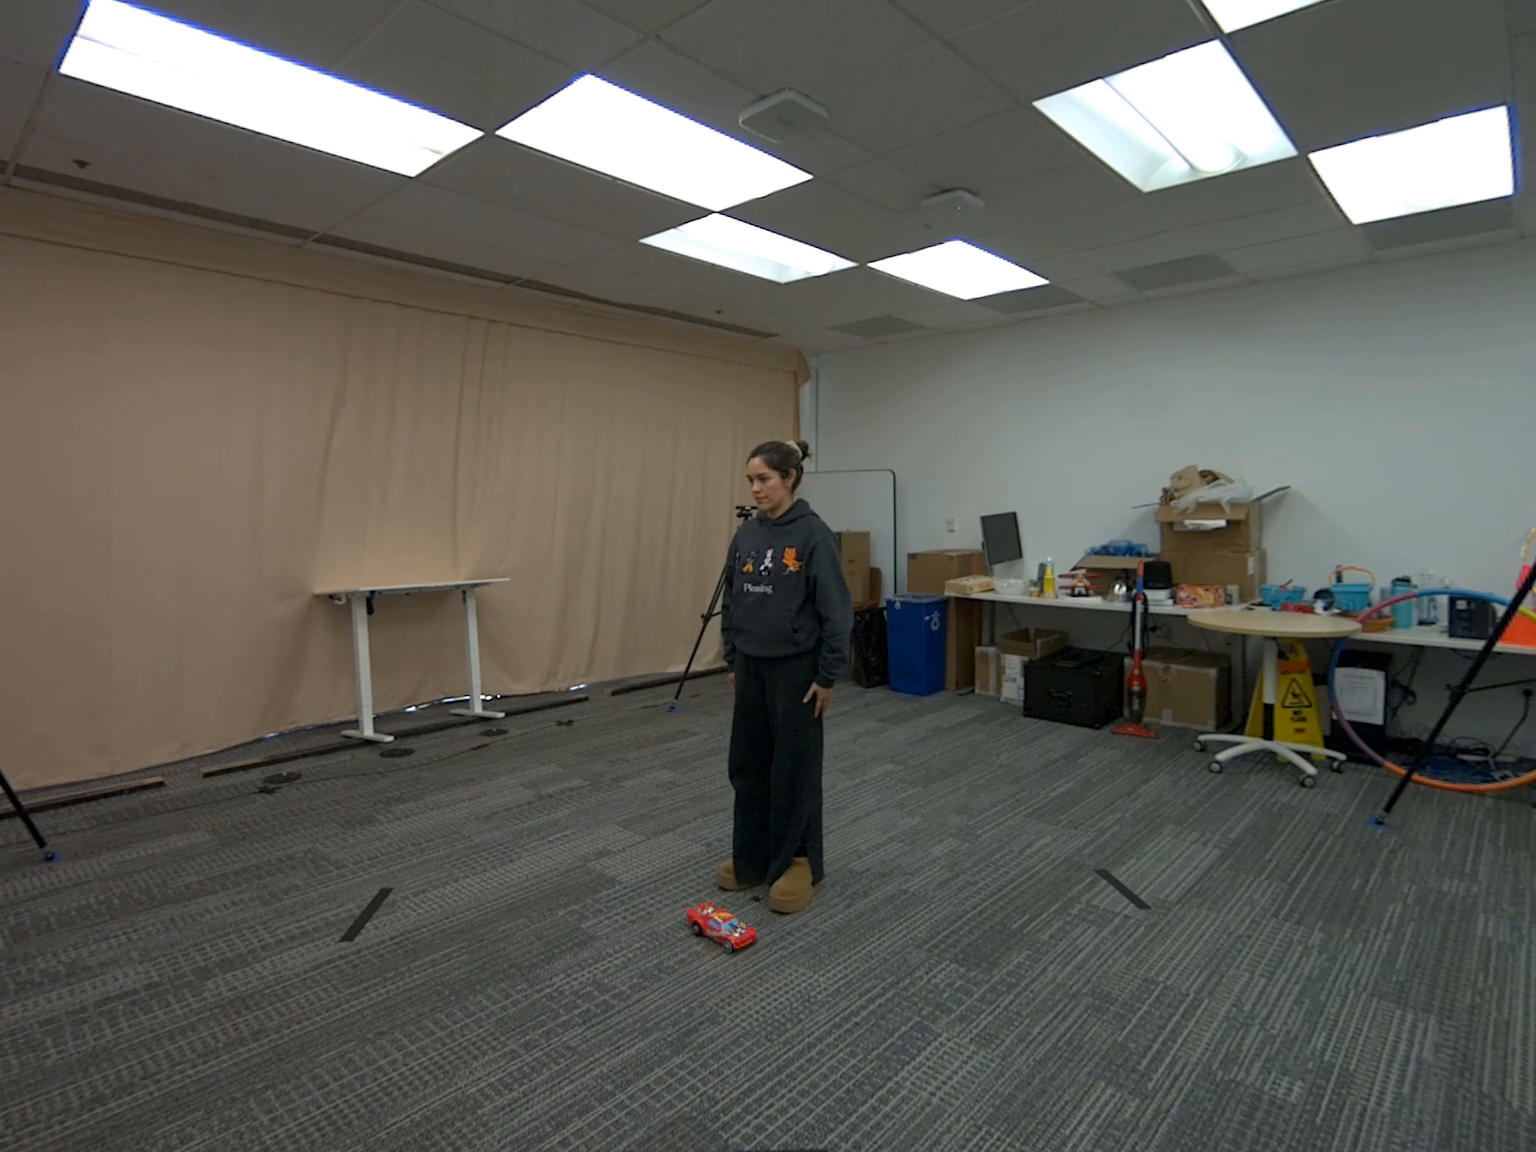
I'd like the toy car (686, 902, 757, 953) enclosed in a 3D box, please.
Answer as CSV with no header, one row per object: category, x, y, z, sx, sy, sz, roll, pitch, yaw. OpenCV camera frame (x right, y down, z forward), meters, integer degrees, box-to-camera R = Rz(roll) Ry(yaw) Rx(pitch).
toy car,-0.136,1.132,2.721,0.126,0.083,0.264,-5,17,-43
